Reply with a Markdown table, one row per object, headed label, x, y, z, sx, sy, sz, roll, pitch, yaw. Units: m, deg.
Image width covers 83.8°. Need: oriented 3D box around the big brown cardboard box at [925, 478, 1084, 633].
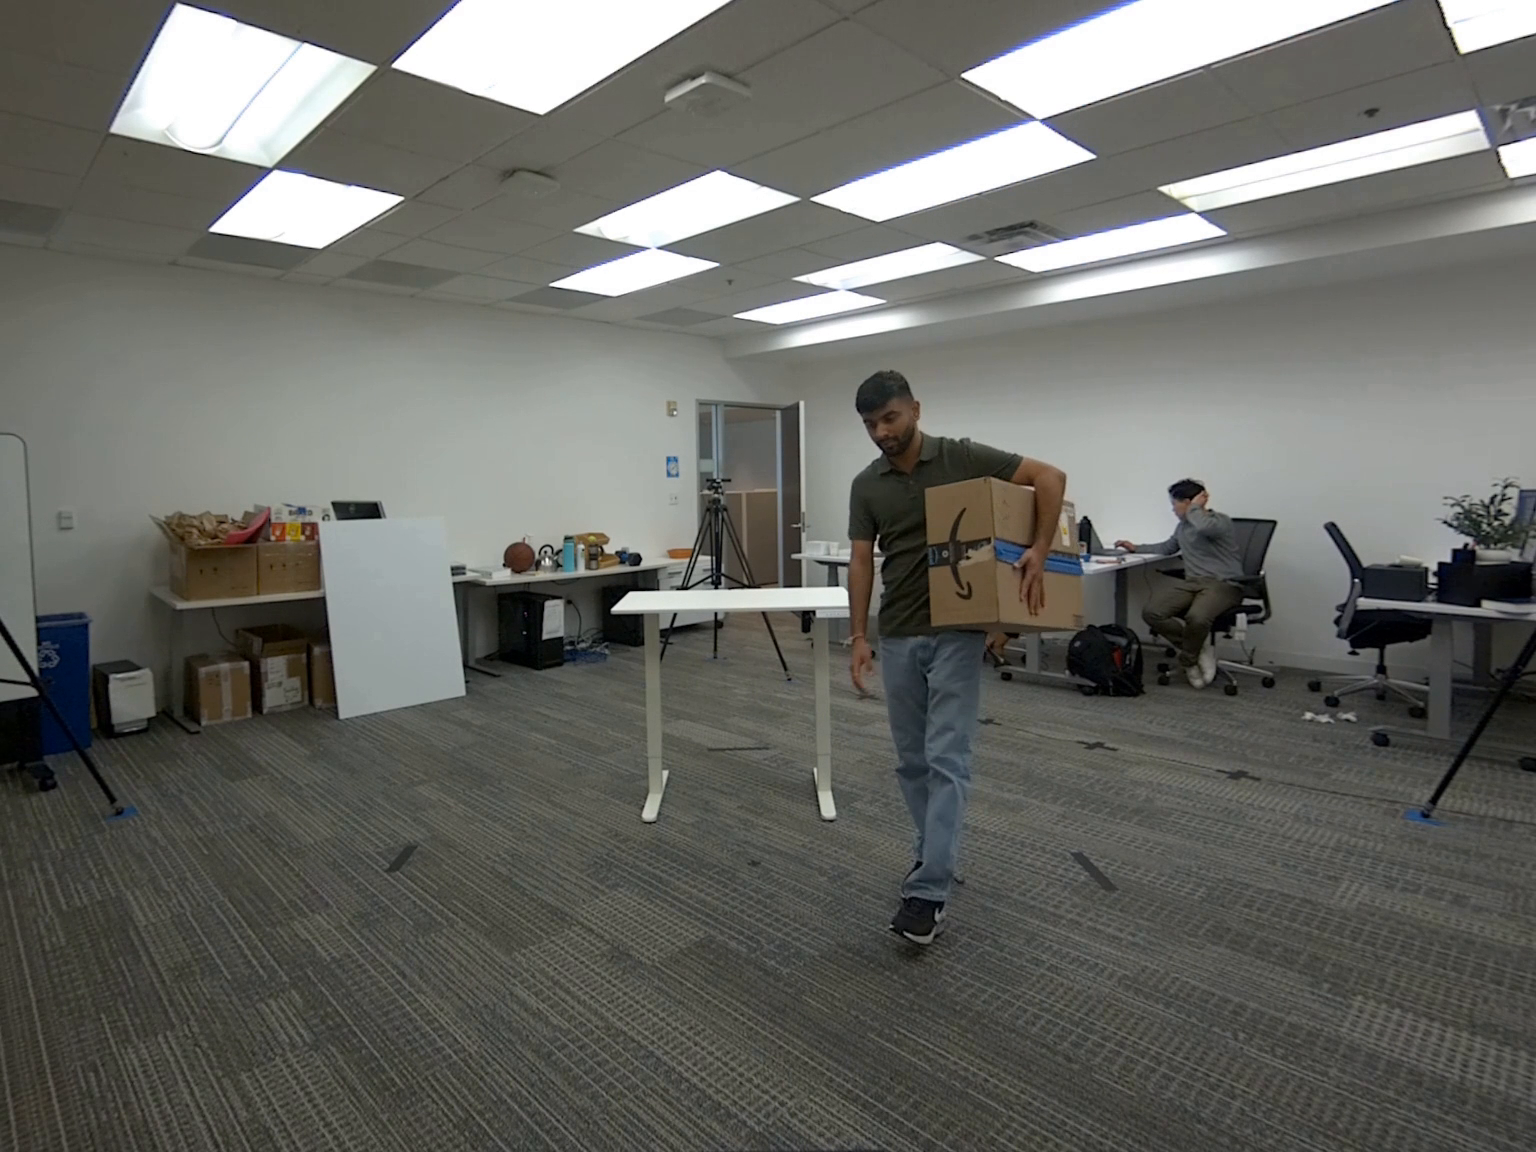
| label | x | y | z | sx | sy | sz | roll | pitch | yaw |
| --- | --- | --- | --- | --- | --- | --- | --- | --- | --- |
| big brown cardboard box | 0.744 | -0.037 | 2.647 | 0.570 | 0.421 | 0.238 | 7 | -13 | -44 |
